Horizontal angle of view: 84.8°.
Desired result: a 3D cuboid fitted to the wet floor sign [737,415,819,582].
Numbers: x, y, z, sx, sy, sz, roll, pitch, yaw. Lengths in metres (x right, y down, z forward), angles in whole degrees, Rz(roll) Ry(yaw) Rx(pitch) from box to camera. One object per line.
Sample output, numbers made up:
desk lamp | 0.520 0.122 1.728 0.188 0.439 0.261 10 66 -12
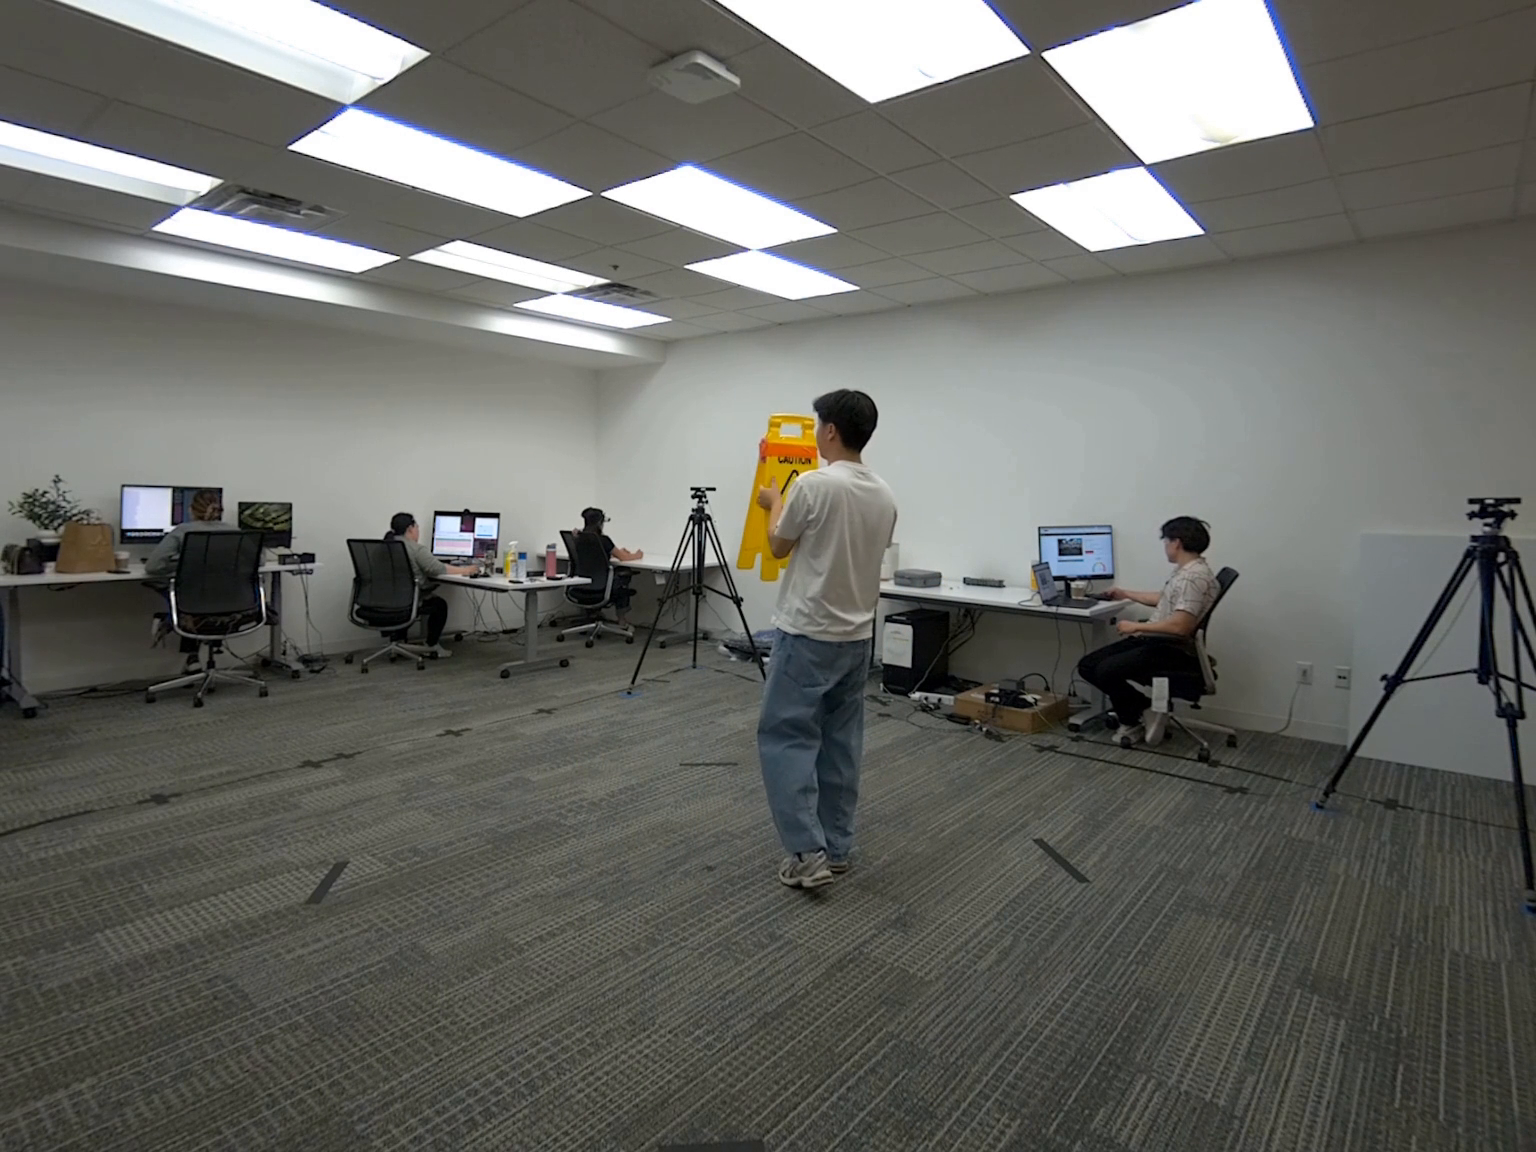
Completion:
wet floor sign | 0.067 -0.326 3.442 0.276 0.641 0.299 -1 10 -24
